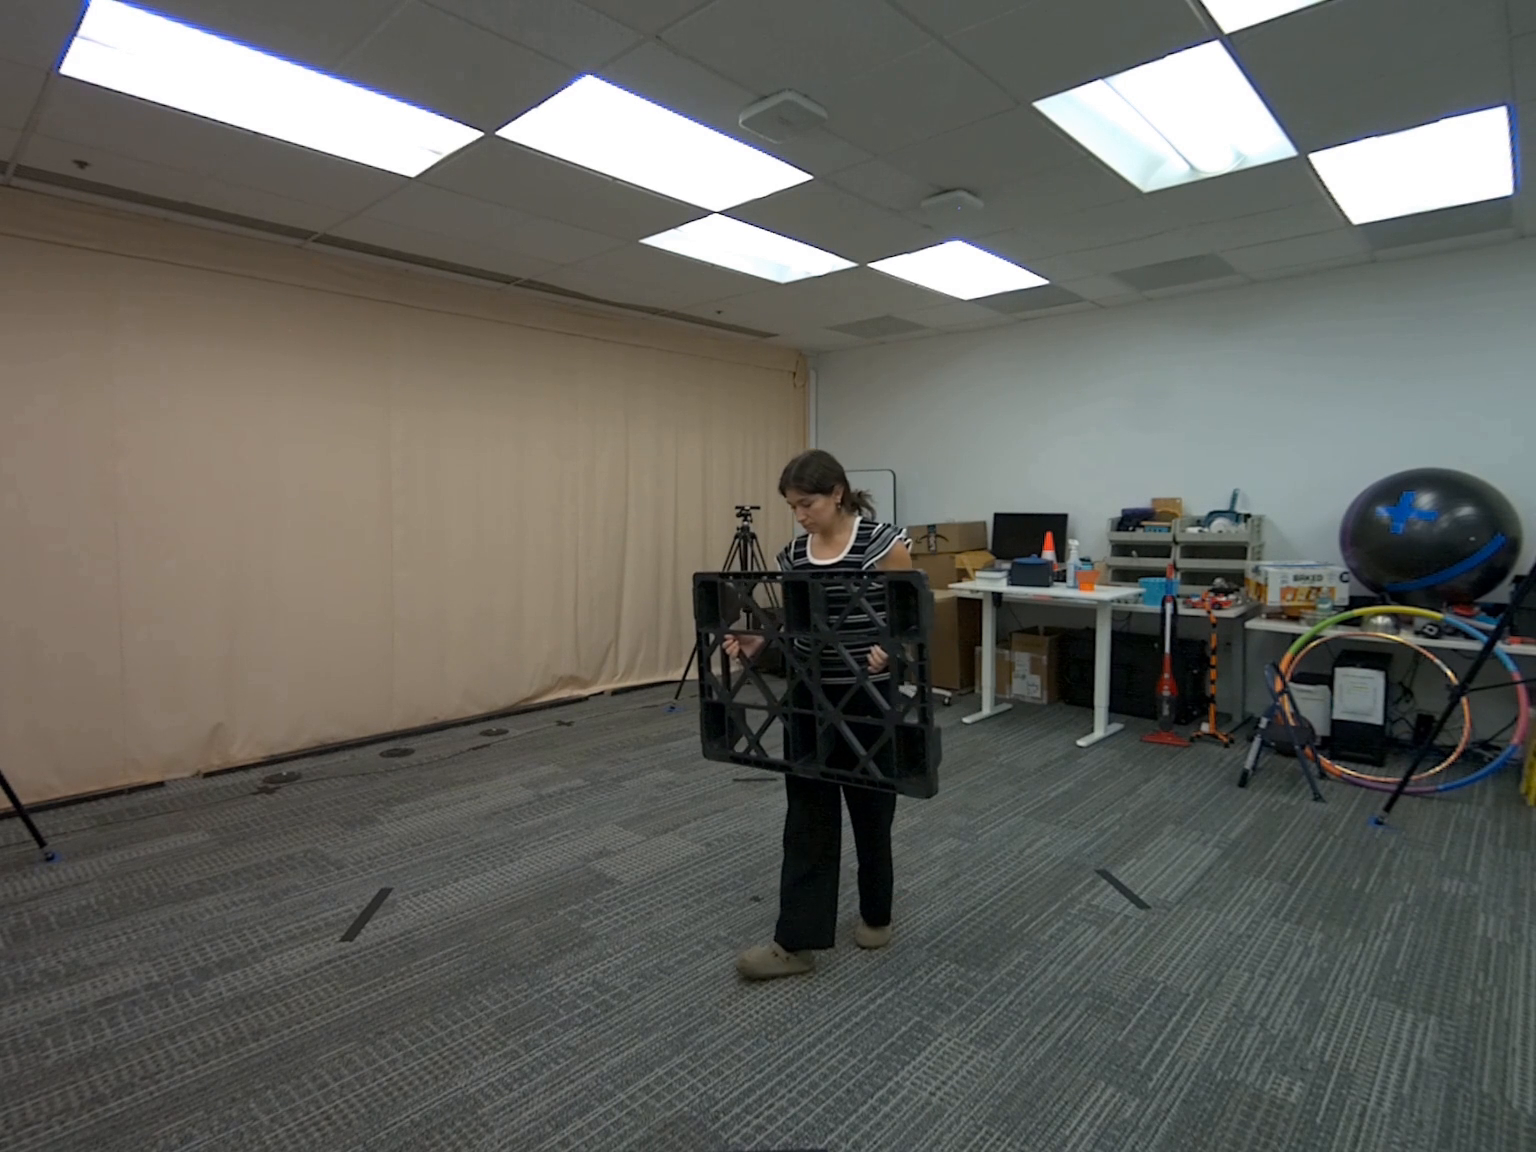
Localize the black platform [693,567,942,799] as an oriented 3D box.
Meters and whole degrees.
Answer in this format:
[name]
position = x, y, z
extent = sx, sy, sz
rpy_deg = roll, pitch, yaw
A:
[black platform]
position = 0.125, 0.277, 2.481
extent = 0.830, 0.605, 0.139
rpy_deg = -2, 1, 38
